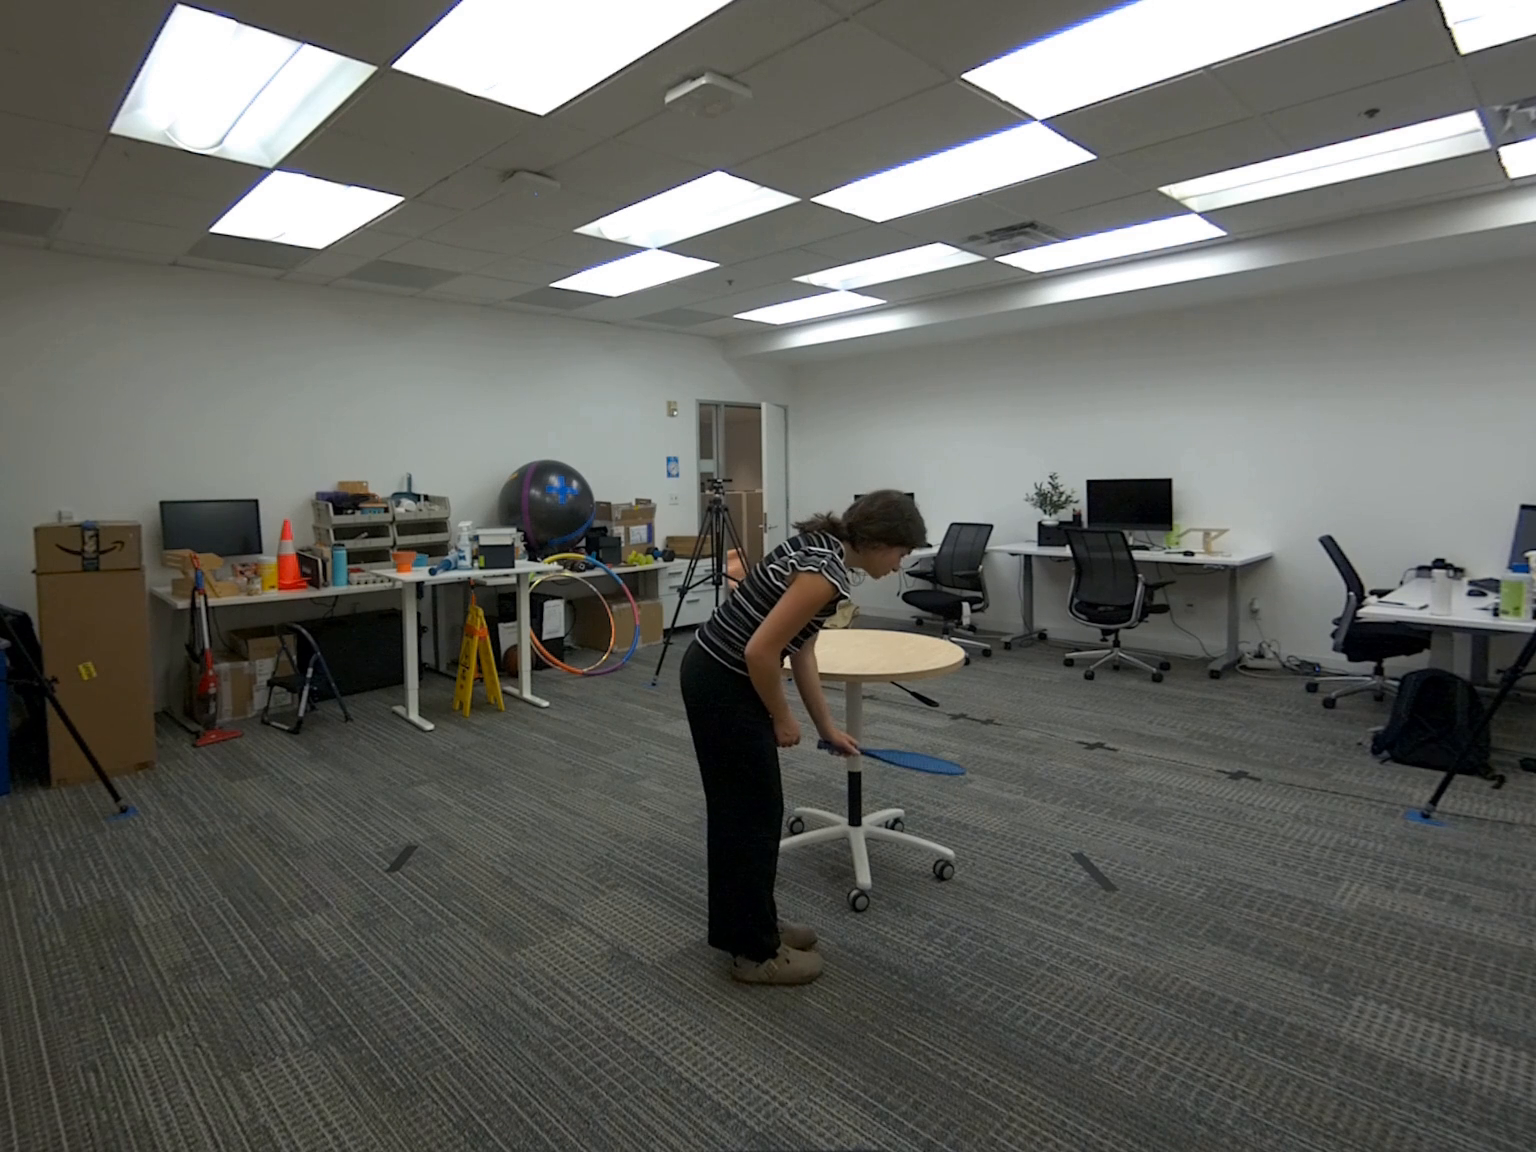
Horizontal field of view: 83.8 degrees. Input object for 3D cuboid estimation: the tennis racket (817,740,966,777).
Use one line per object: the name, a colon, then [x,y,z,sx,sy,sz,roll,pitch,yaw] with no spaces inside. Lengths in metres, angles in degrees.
tennis racket: [0.362,0.528,2.533,0.439,0.032,0.211,7,1,12]
